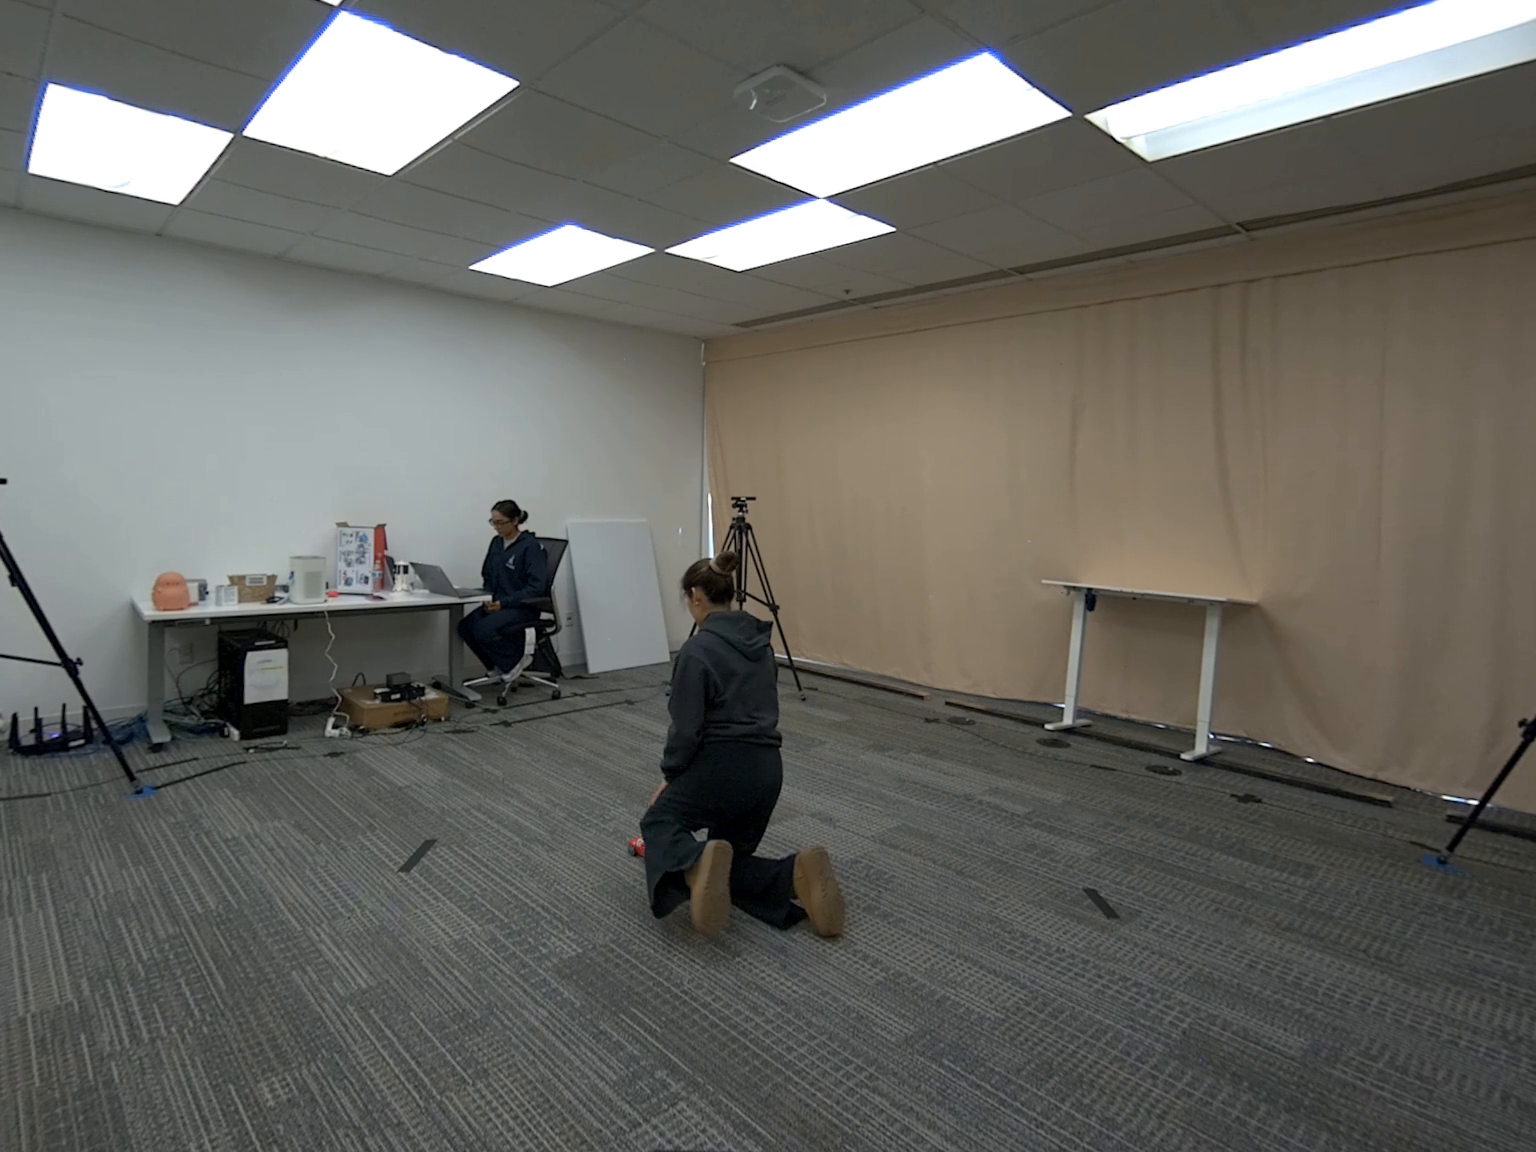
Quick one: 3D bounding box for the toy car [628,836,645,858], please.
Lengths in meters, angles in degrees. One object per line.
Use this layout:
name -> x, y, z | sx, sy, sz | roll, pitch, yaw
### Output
toy car -> -0.426, 1.056, 3.245 | 0.259, 0.083, 0.127 | -9, -4, 42
